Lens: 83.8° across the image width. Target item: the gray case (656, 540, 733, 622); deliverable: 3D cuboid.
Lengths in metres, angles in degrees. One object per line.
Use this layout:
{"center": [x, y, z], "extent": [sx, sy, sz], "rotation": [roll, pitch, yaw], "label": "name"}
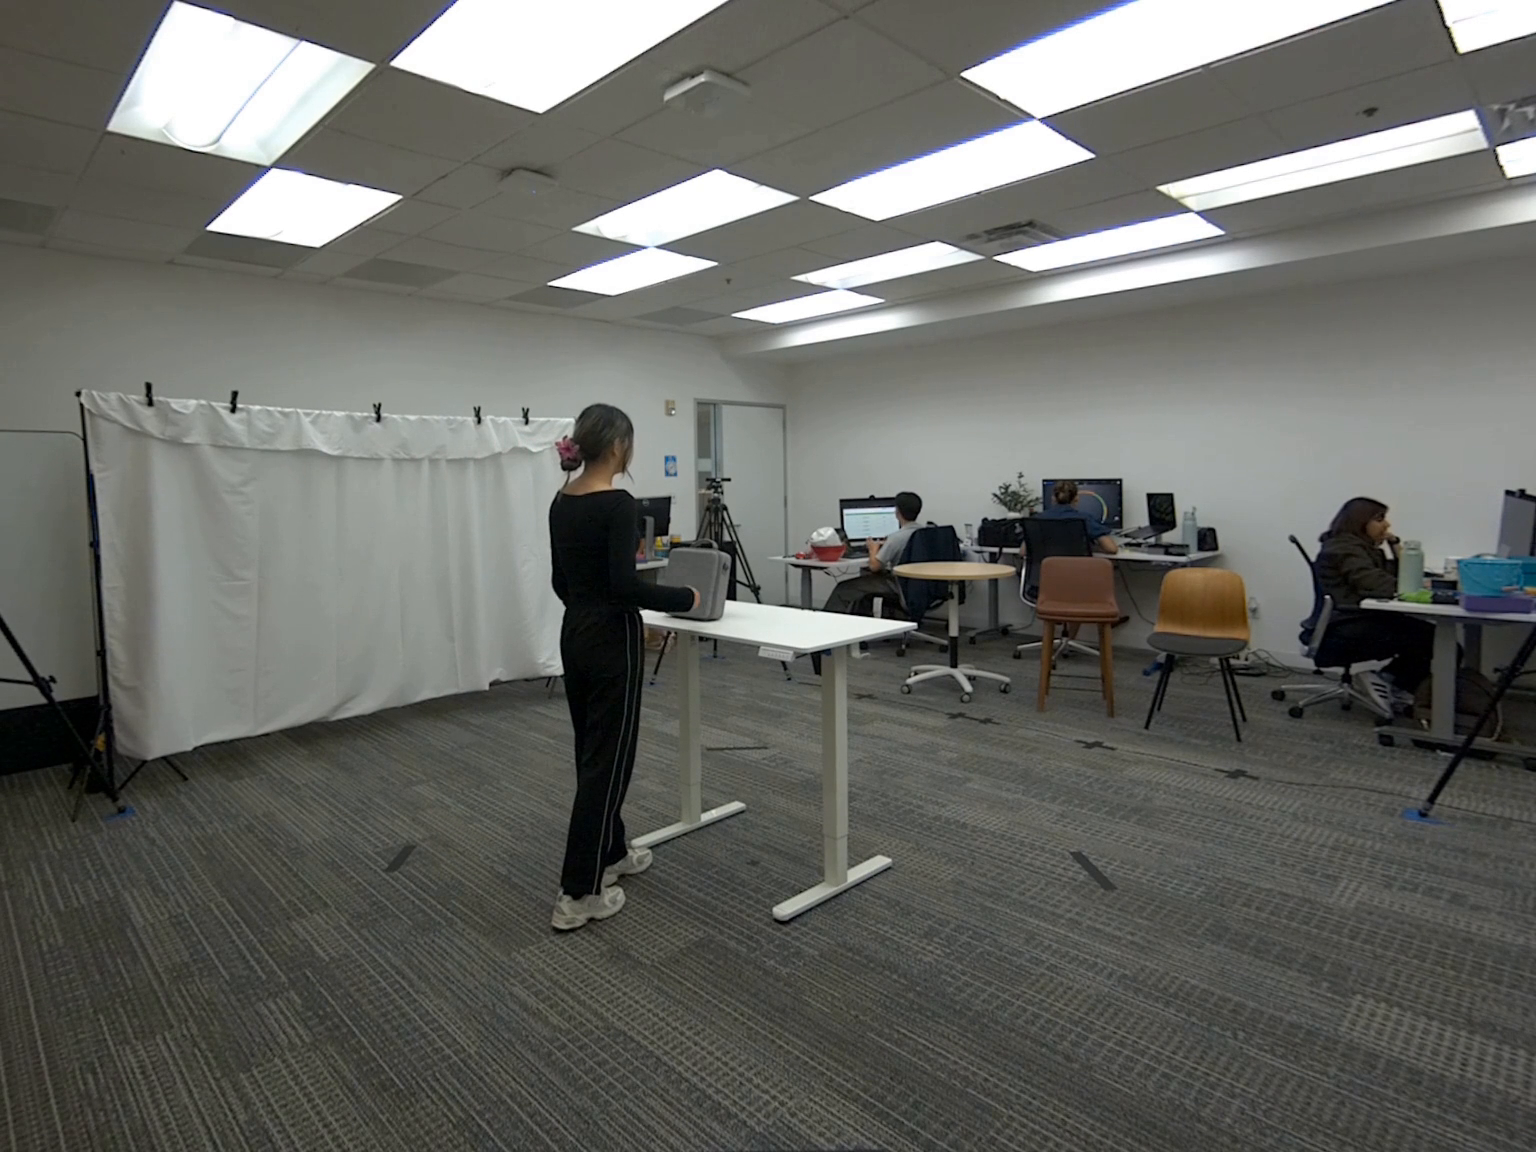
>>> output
{"center": [-0.268, 0.026, 3.172], "extent": [0.265, 0.261, 0.101], "rotation": [4, -6, 43], "label": "gray case"}
